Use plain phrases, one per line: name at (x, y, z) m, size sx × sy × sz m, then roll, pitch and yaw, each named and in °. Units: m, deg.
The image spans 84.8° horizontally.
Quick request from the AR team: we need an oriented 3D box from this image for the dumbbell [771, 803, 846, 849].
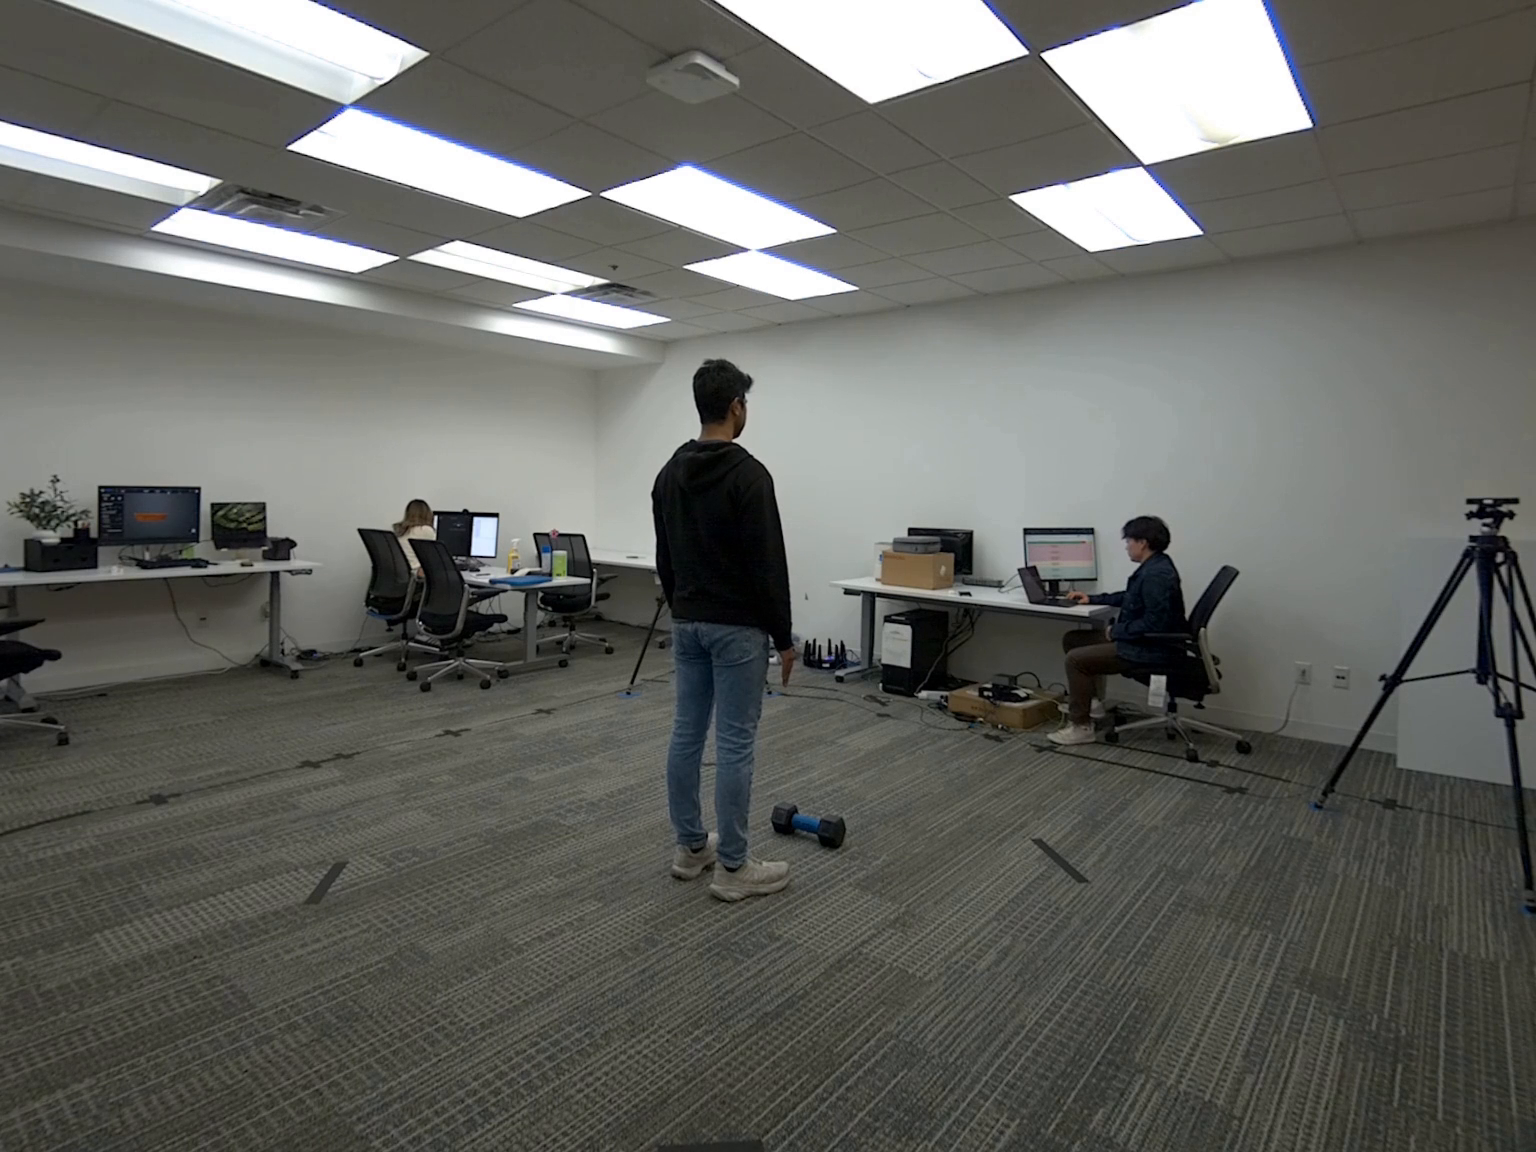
dumbbell at (0.153, 0.991, 3.403) m, size 0.303 × 0.108 × 0.120 m, roll 5°, pitch 8°, yaw 33°
